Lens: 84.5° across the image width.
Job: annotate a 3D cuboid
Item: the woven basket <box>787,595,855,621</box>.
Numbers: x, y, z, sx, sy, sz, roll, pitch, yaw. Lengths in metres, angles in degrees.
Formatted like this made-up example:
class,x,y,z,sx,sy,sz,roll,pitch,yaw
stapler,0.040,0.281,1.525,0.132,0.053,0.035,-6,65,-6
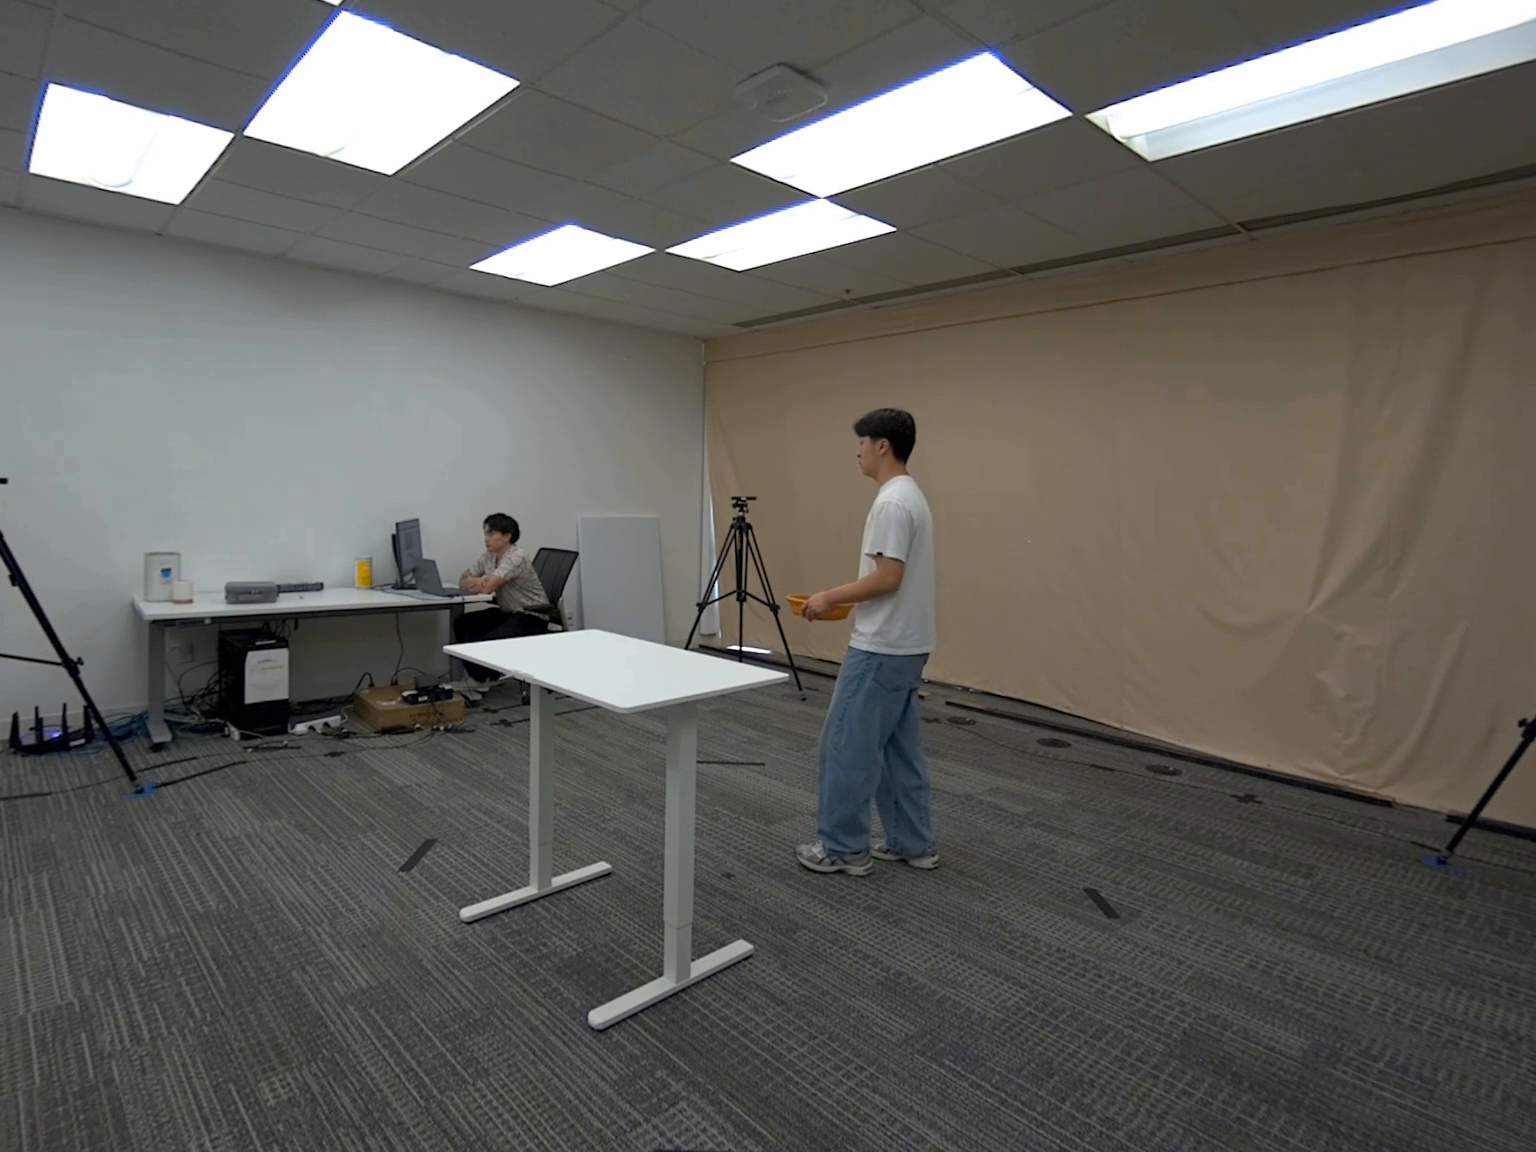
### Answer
class,x,y,z,sx,sy,sz,roll,pitch,yaw
woven basket,0.210,0.125,3.316,0.246,0.073,0.360,1,6,-44
